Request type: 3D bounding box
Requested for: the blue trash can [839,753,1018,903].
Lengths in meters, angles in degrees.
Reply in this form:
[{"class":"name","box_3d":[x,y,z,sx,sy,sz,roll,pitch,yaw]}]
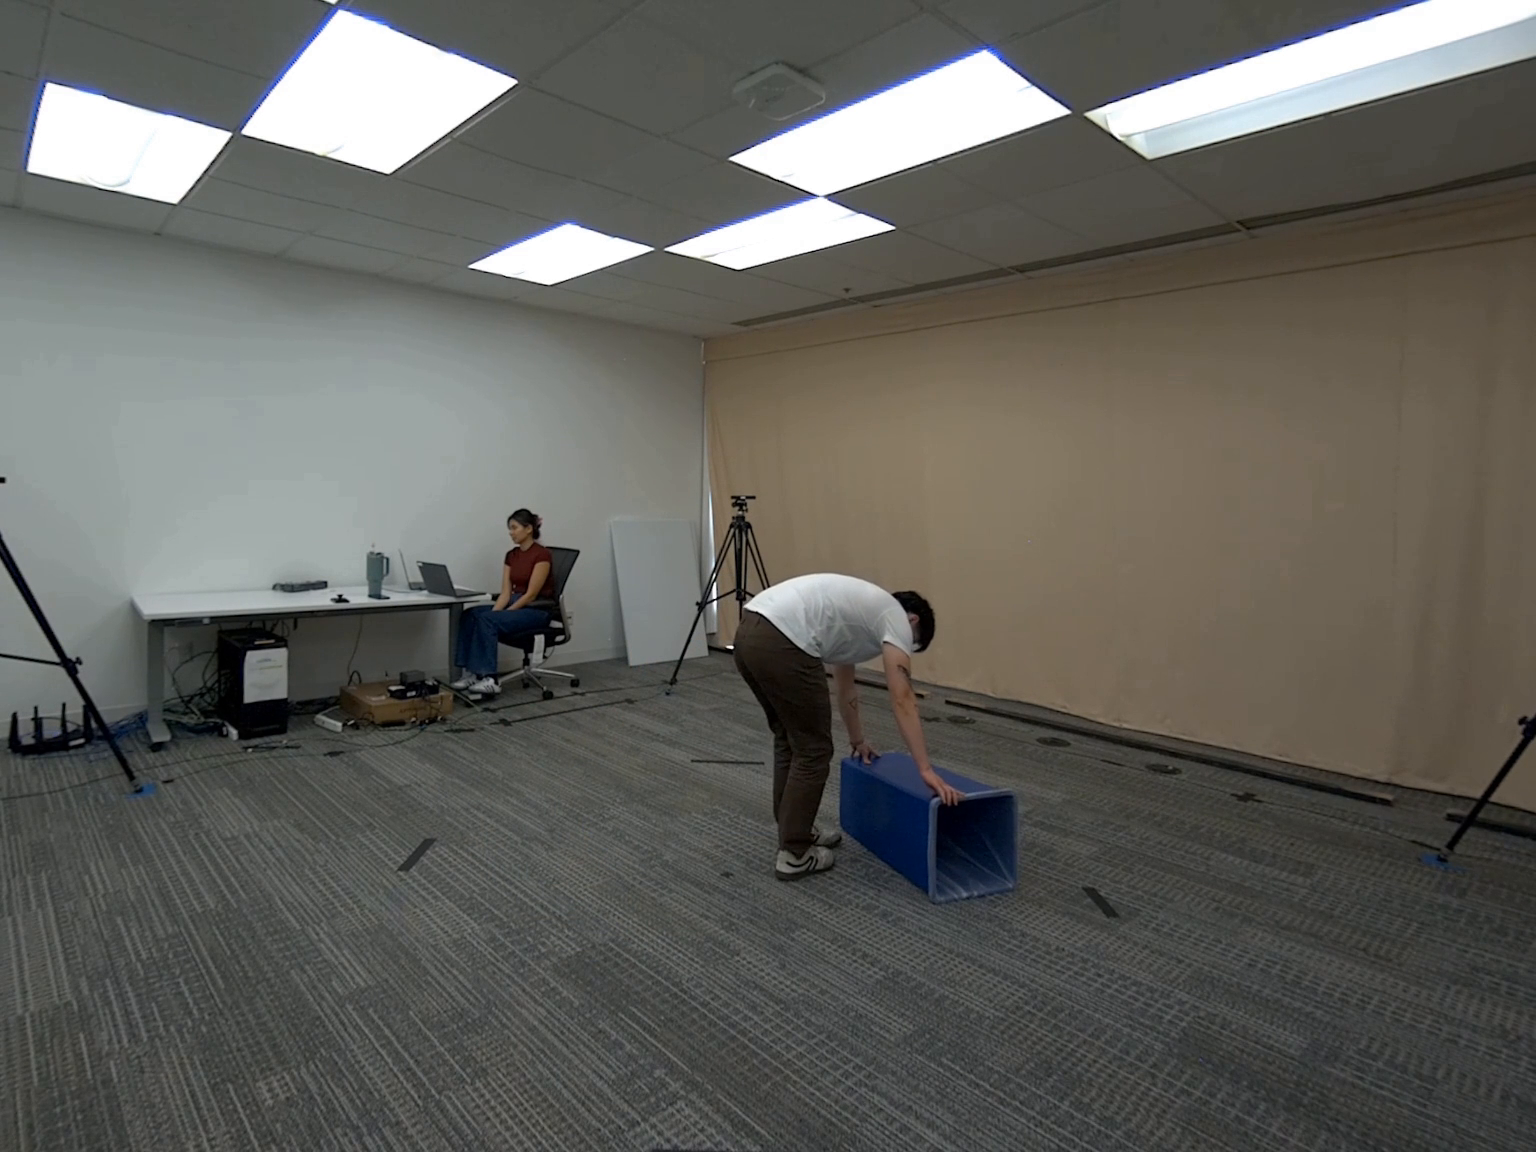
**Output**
[{"class":"blue trash can","box_3d":[0.589,0.933,3.300,0.368,0.377,0.726,-2,4,-22]}]
